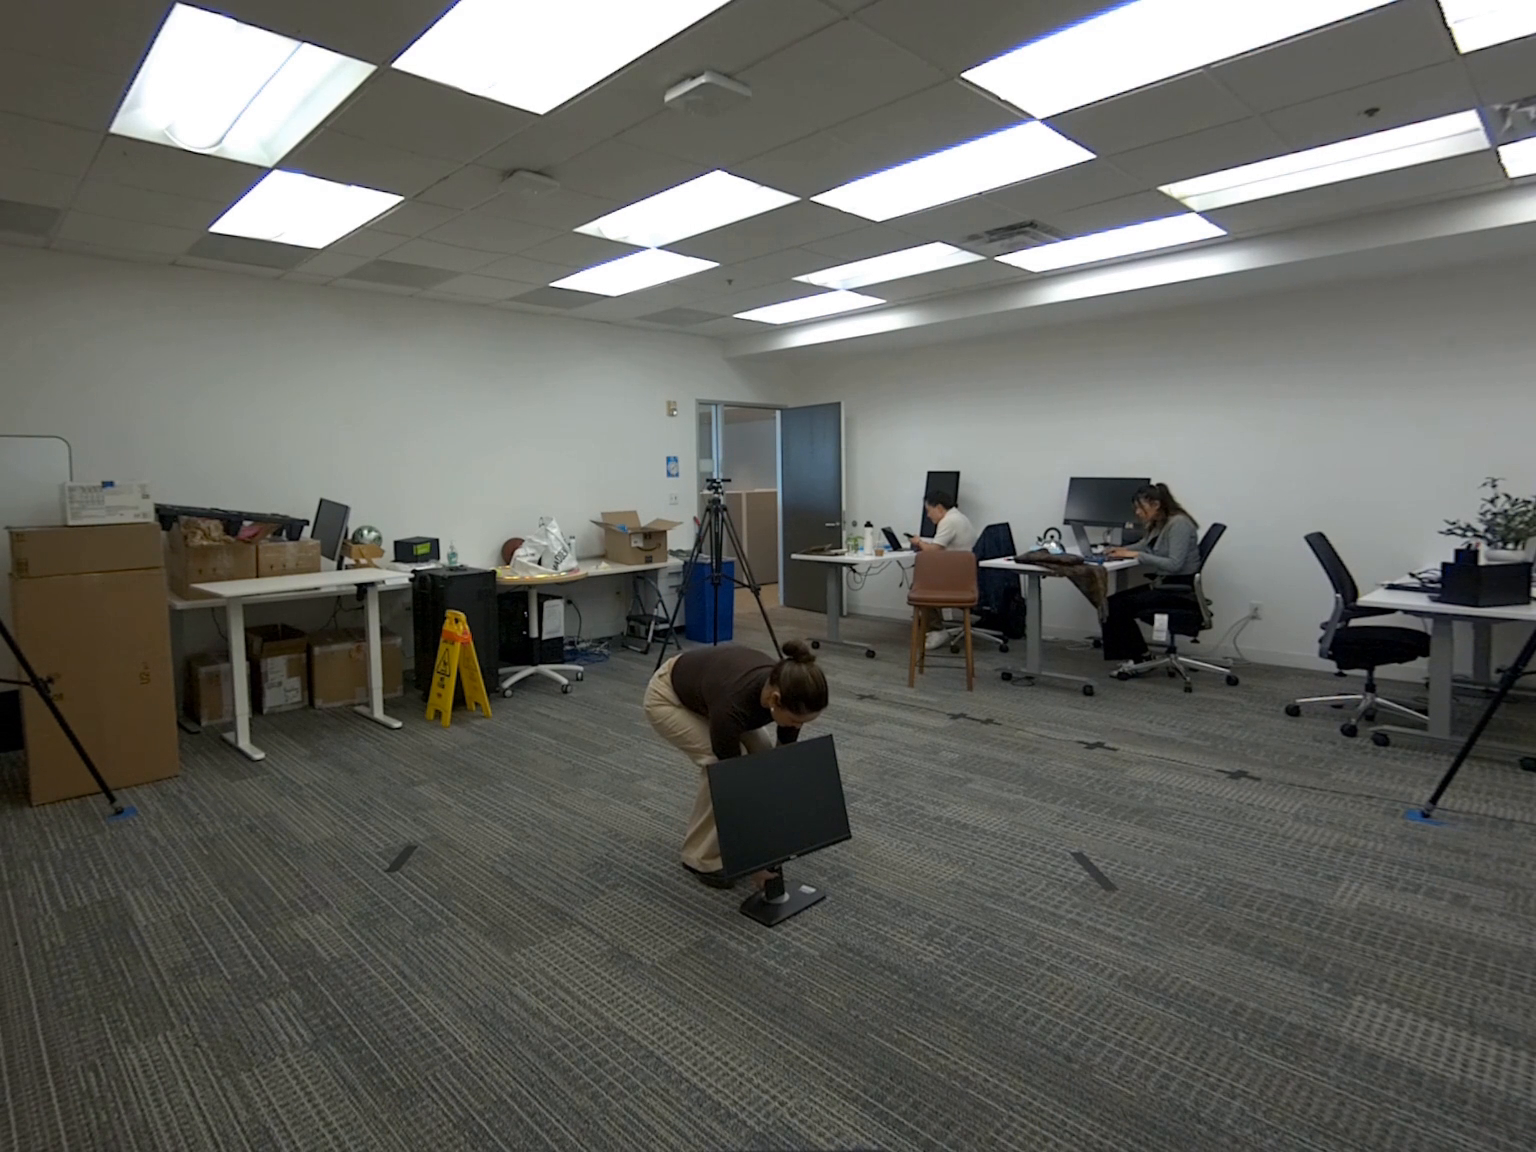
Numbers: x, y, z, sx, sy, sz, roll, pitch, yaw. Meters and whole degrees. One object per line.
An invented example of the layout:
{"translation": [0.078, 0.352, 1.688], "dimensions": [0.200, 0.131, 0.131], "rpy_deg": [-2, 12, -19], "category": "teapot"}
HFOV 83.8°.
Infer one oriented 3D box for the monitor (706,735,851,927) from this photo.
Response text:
{"translation": [0.034, 0.831, 2.788], "dimensions": [0.525, 0.521, 0.192], "rpy_deg": [-4, 4, -39], "category": "monitor"}
